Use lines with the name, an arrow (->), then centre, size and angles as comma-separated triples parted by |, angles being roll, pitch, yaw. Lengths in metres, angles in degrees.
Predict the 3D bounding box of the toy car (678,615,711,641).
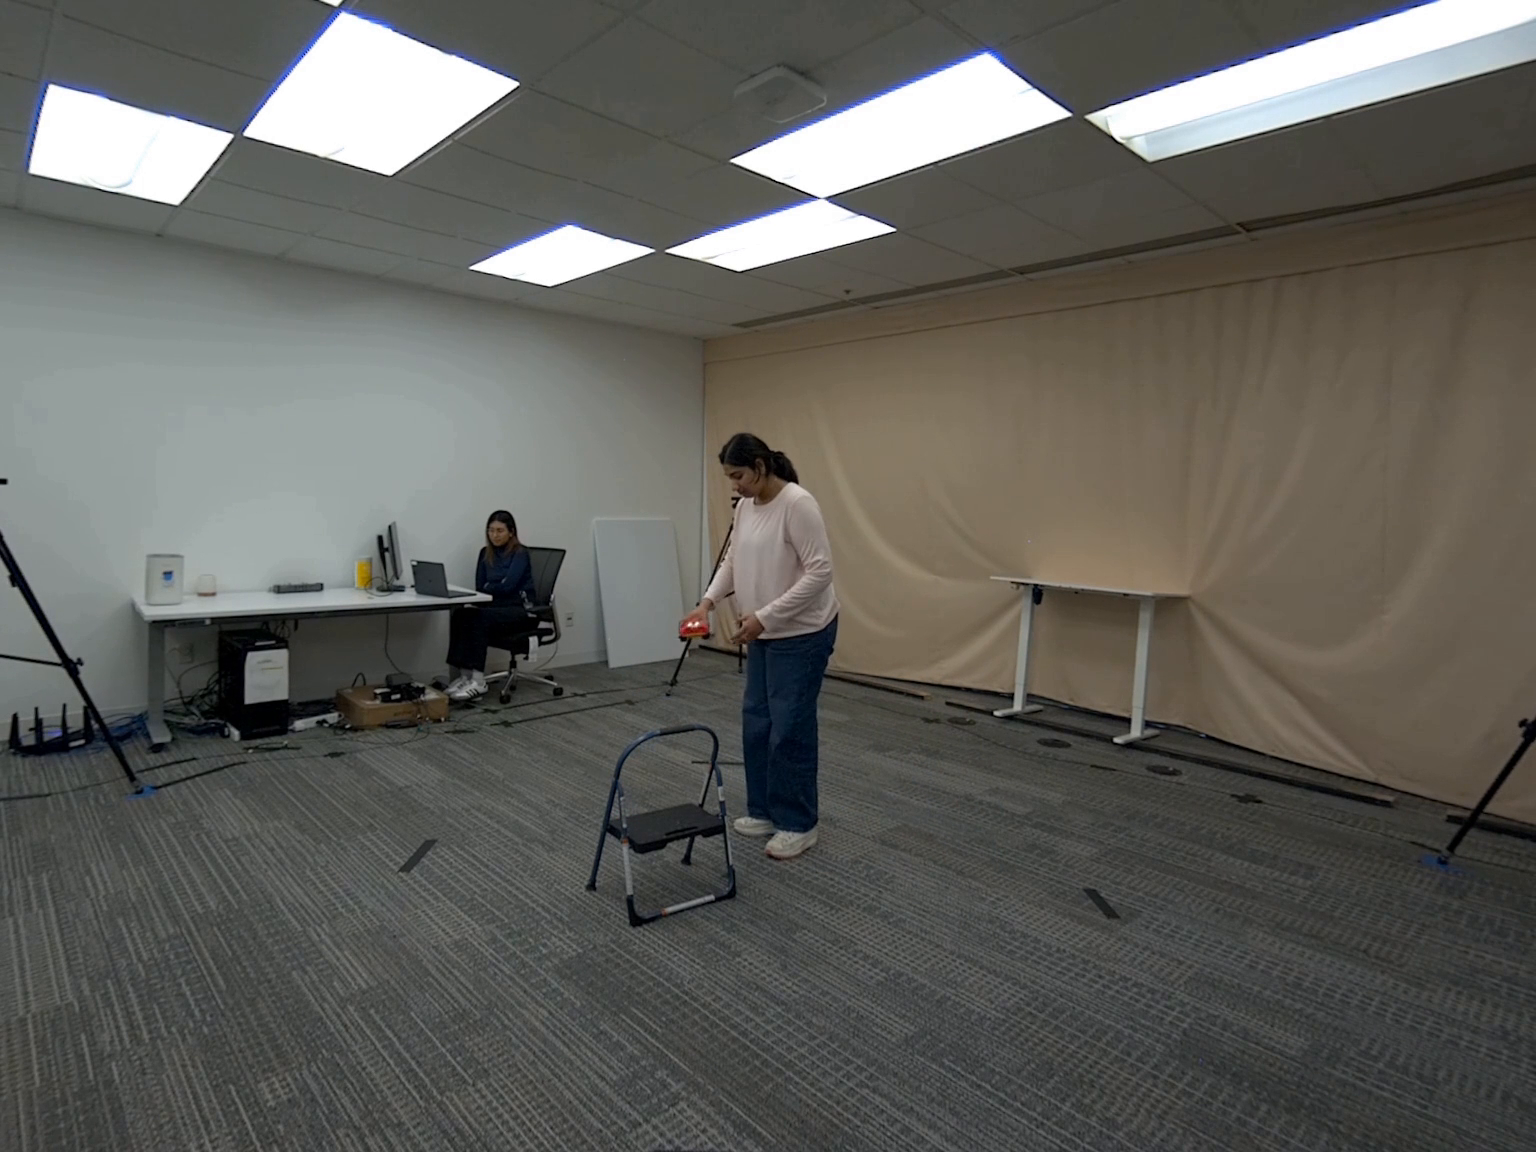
toy car -> -0.303, 0.229, 3.358 | 0.130, 0.084, 0.253 | -4, -11, -7
